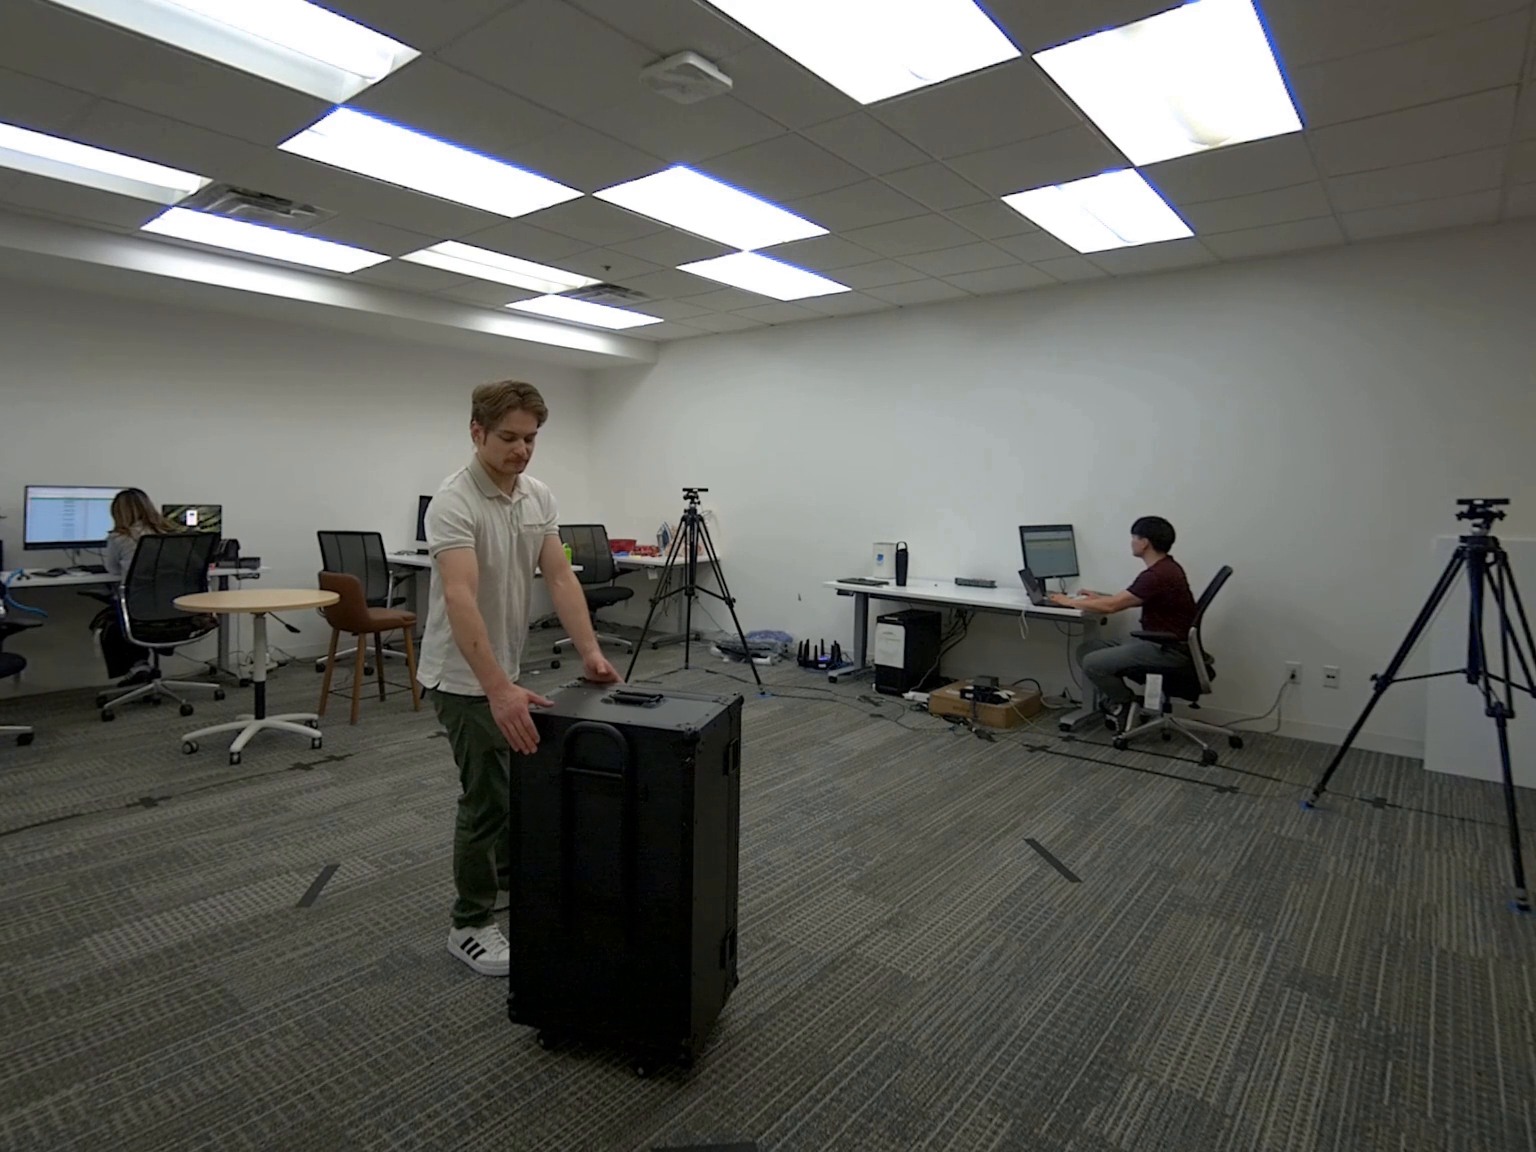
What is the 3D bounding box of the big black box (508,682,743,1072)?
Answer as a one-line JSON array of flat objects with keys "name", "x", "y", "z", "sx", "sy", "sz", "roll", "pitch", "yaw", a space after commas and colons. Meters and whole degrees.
[{"name": "big black box", "x": -0.354, "y": 0.741, "z": 2.145, "sx": 0.534, "sy": 0.865, "sz": 0.379, "roll": 2, "pitch": 4, "yaw": 18}]
